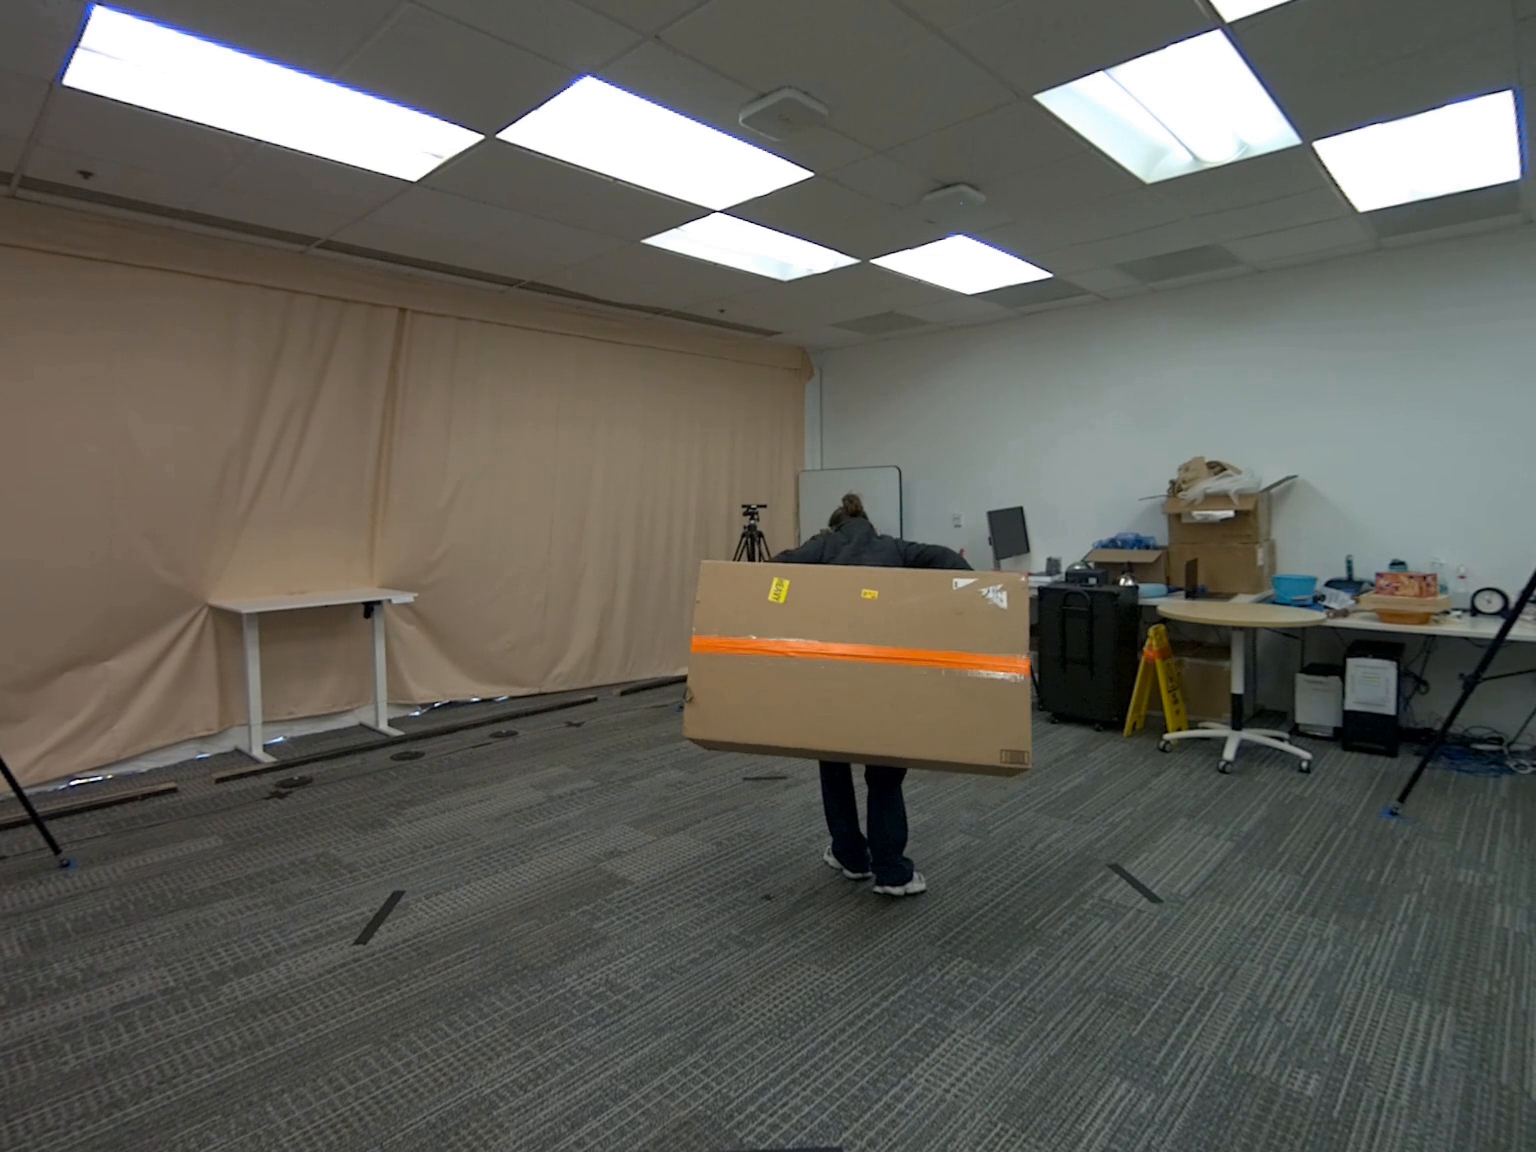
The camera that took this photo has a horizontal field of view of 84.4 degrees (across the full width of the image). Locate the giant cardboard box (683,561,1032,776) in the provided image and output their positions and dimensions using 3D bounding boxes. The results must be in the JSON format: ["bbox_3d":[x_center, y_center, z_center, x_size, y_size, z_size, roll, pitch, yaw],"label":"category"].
[{"bbox_3d":[0.303,0.306,2.747,1.039,0.582,0.417,2,-18,12],"label":"giant cardboard box"}]
